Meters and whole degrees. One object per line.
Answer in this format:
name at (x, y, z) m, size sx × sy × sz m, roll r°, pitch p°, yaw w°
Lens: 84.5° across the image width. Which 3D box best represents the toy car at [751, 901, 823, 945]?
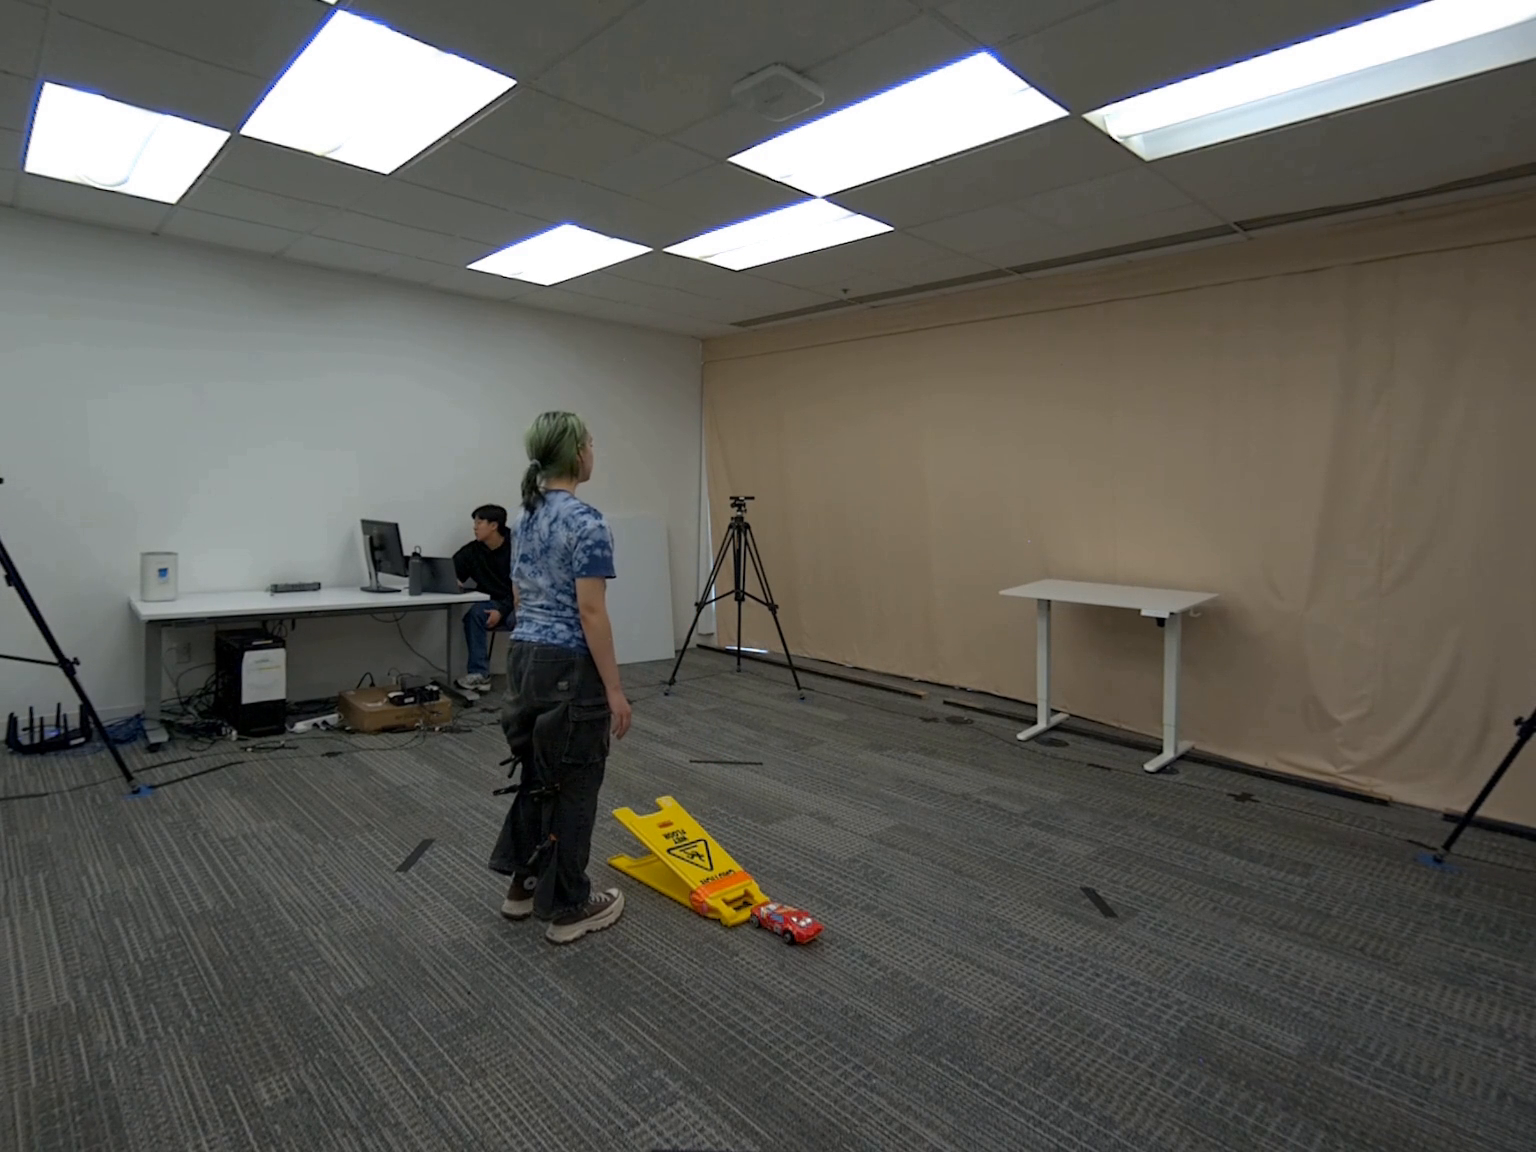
toy car at (0.057, 1.112, 2.696) m, size 0.260 × 0.083 × 0.127 m, roll -7°, pitch -2°, yaw 44°
